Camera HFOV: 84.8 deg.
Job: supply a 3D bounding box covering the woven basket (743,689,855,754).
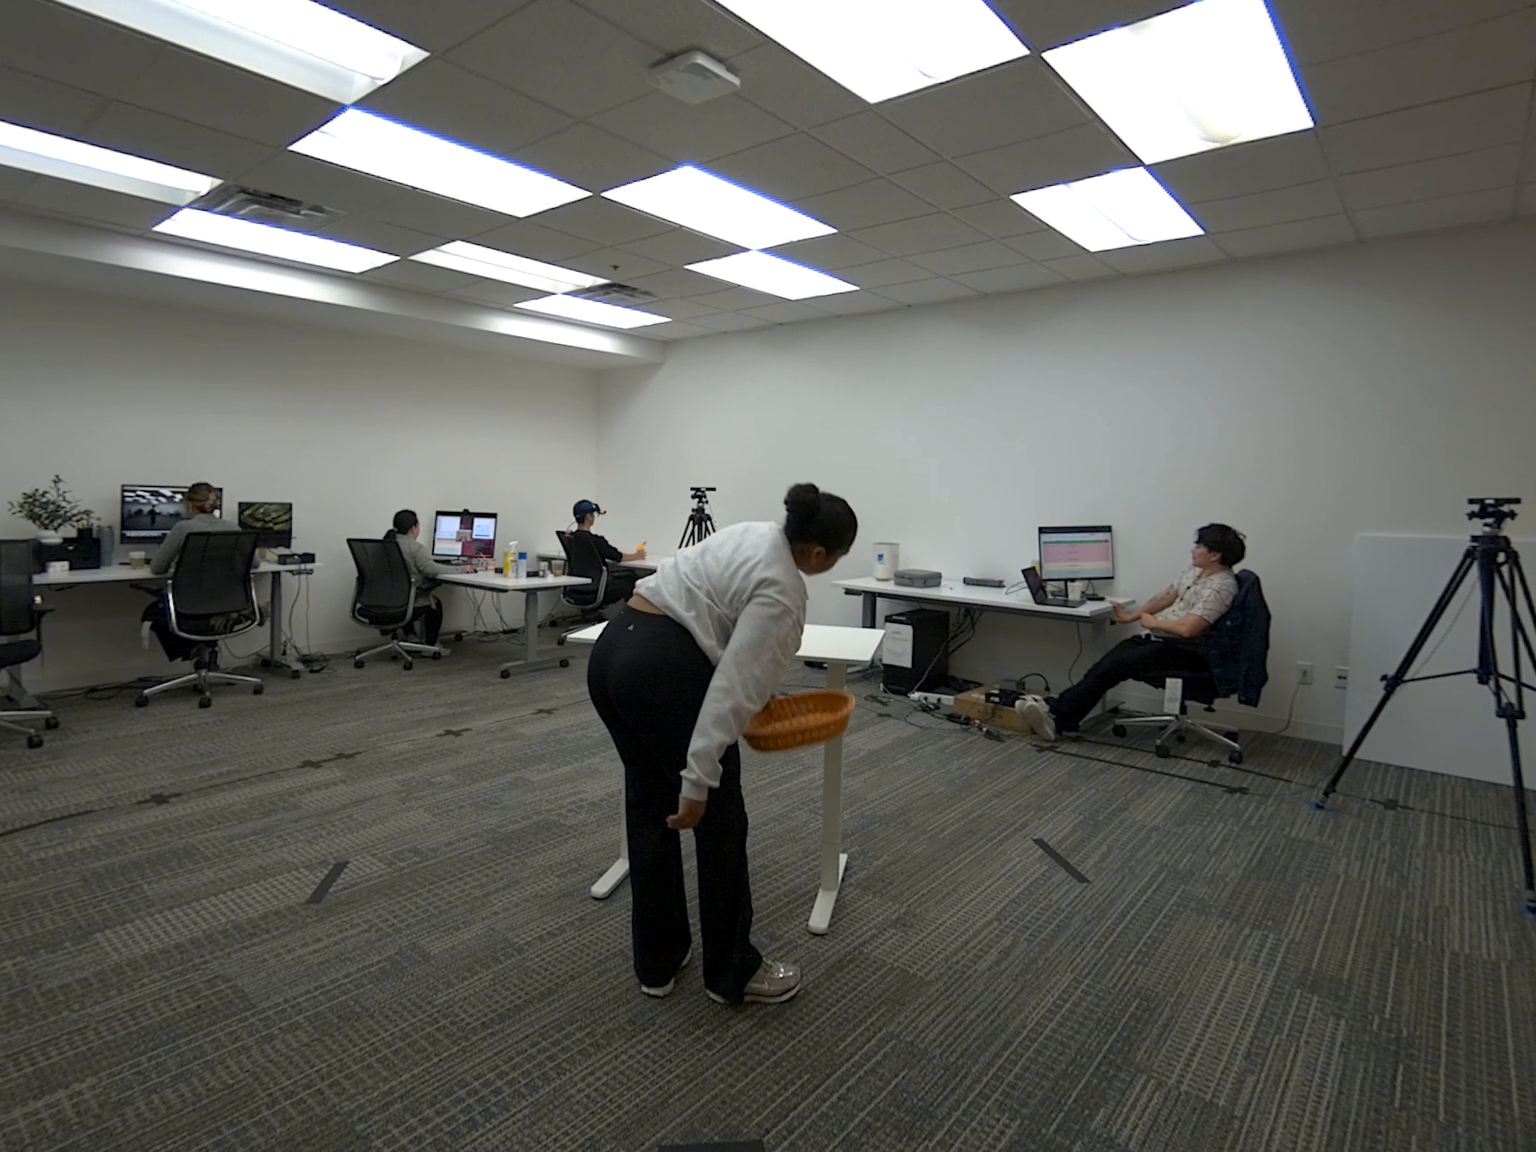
[{"bbox_3d":[0.057,0.426,2.392,0.247,0.073,0.361,-18,13,-40],"label":"woven basket"}]
